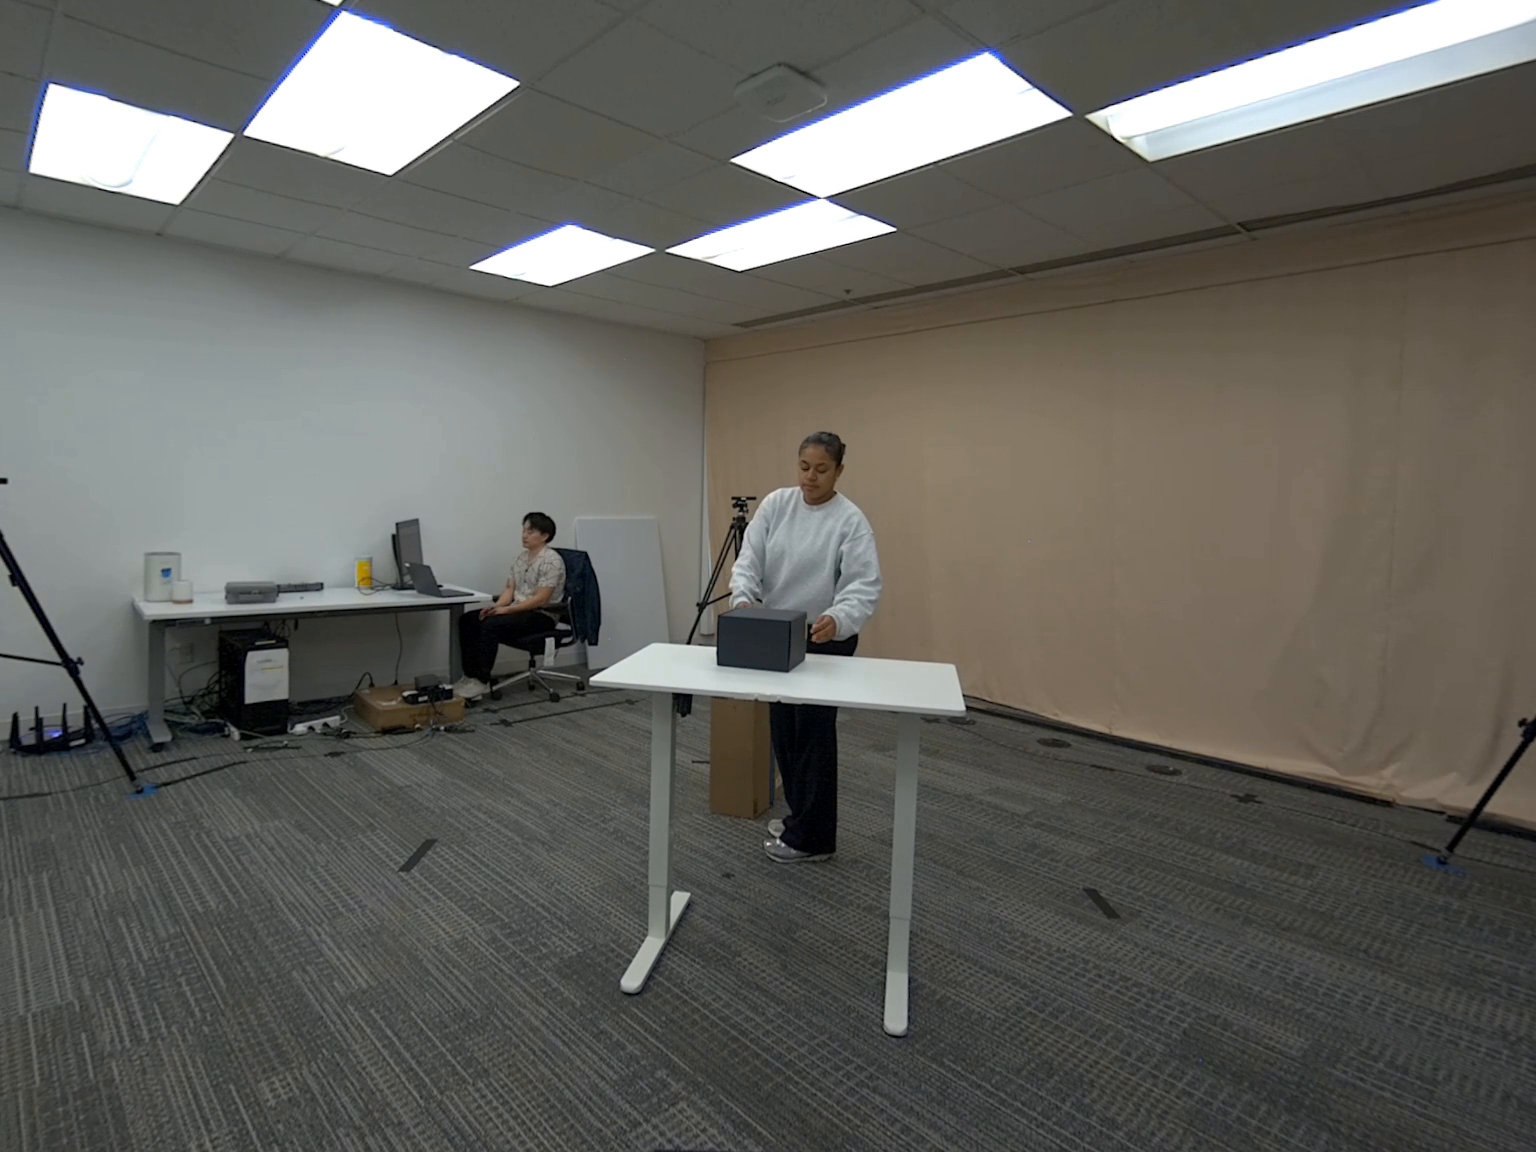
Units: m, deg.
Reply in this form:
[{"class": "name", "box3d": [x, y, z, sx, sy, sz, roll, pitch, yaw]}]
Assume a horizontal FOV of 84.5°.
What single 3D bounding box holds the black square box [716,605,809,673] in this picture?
[{"class": "black square box", "box3d": [-0.021, 0.193, 2.608, 0.231, 0.155, 0.215, 4, 5, 16]}]
